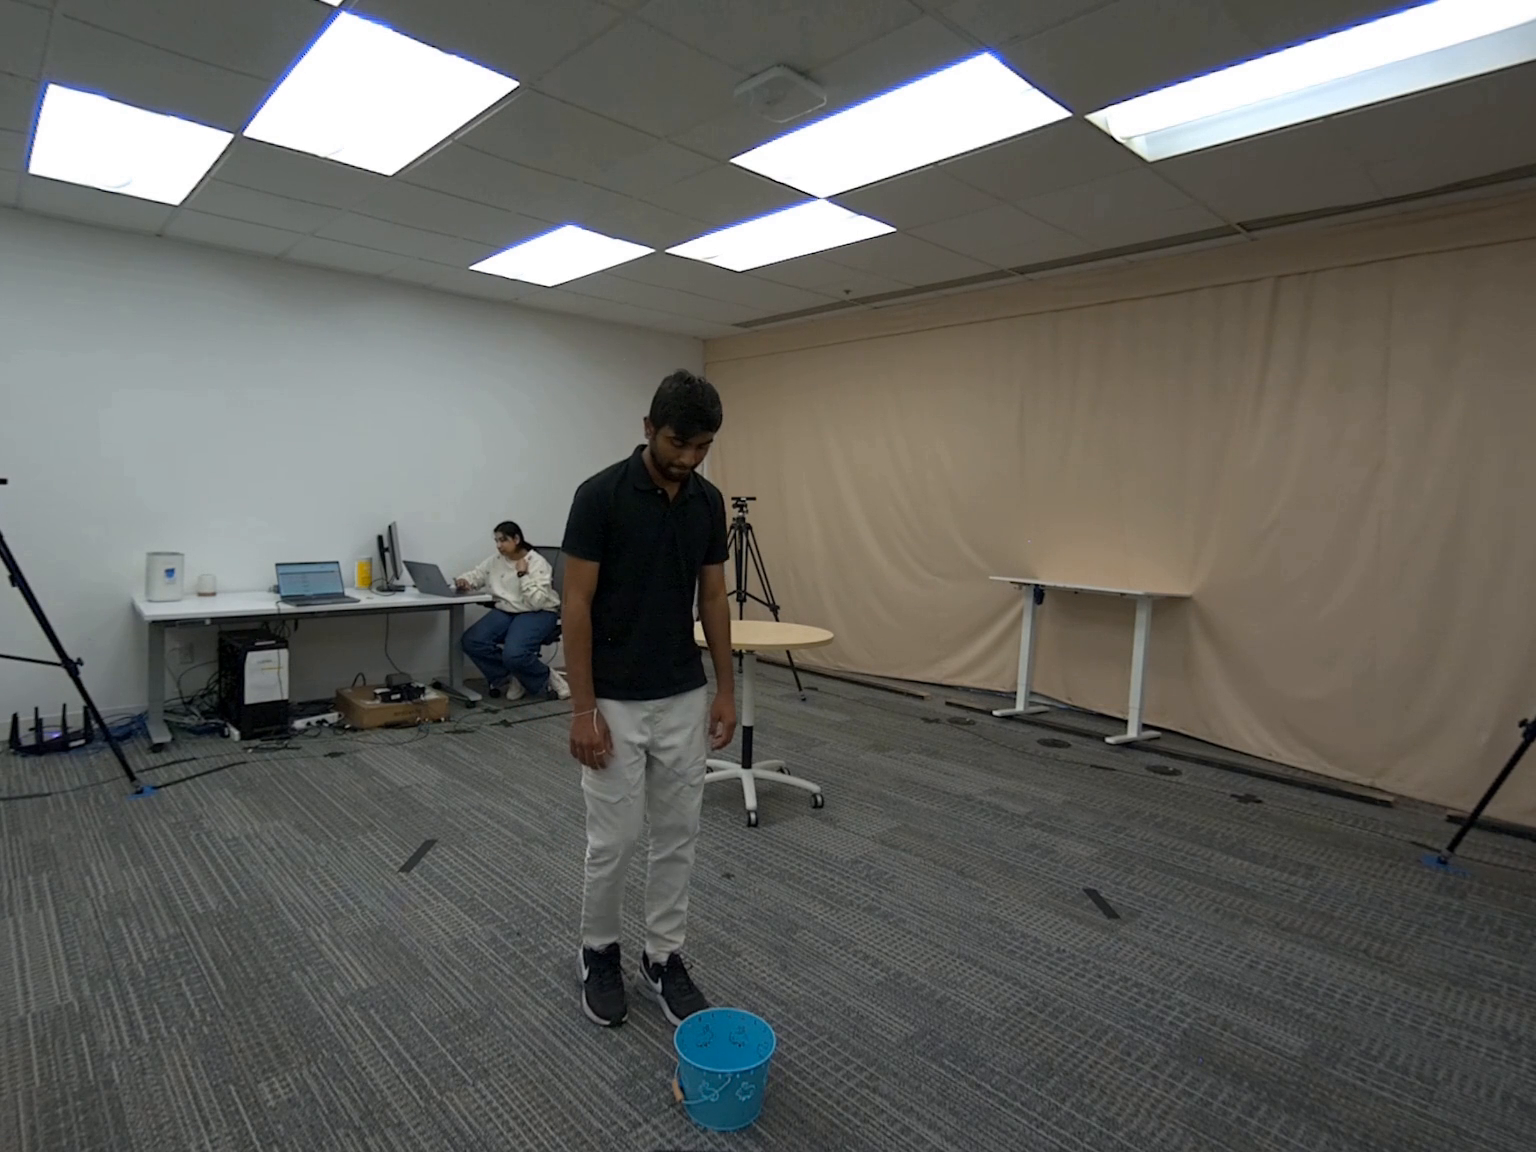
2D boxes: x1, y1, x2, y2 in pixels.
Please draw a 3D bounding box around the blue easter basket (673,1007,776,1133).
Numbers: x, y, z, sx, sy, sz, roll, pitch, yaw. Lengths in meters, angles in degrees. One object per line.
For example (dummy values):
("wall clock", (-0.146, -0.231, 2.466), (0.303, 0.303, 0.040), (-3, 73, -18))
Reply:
("blue easter basket", (-0.117, 1.142, 1.939), (0.243, 0.155, 0.244), (3, 4, -2))
